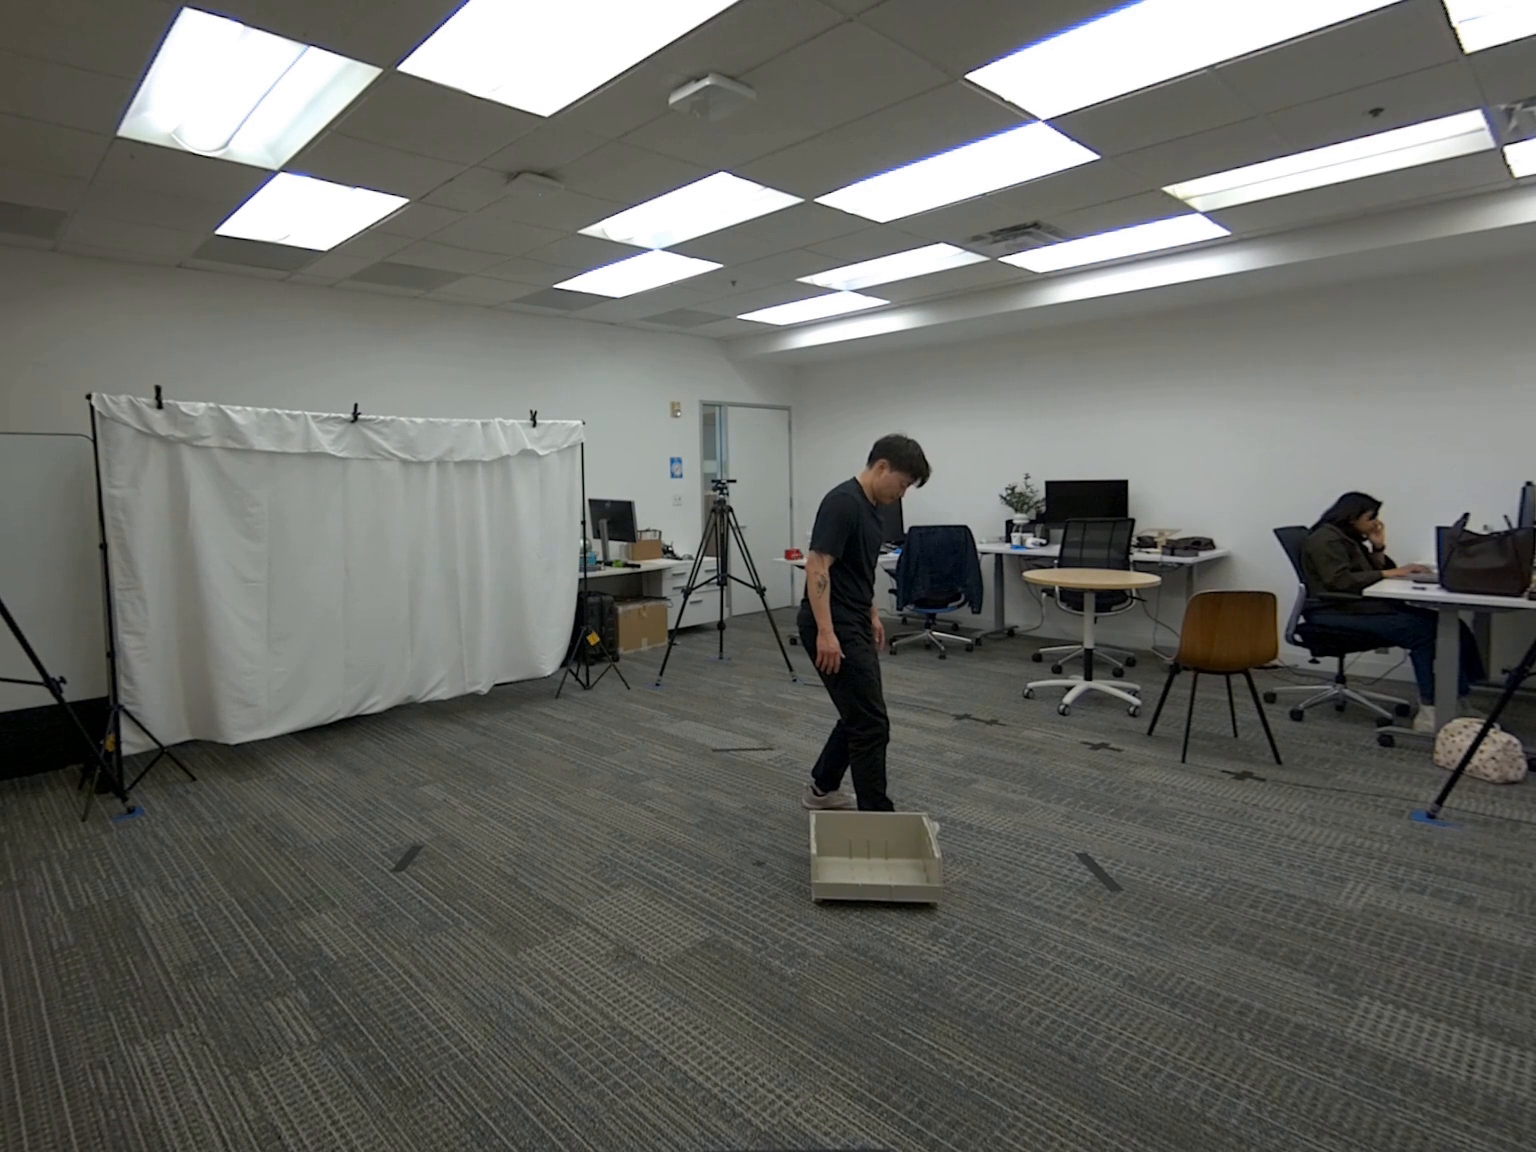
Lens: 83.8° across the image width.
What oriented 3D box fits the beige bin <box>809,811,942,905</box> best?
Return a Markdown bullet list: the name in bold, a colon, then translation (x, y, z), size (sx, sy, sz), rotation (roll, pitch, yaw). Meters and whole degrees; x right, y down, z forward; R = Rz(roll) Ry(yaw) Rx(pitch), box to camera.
- **beige bin**: translation (0.363, 0.973, 2.931), size (0.424, 0.188, 0.377), rotation (-2, 5, 4)
